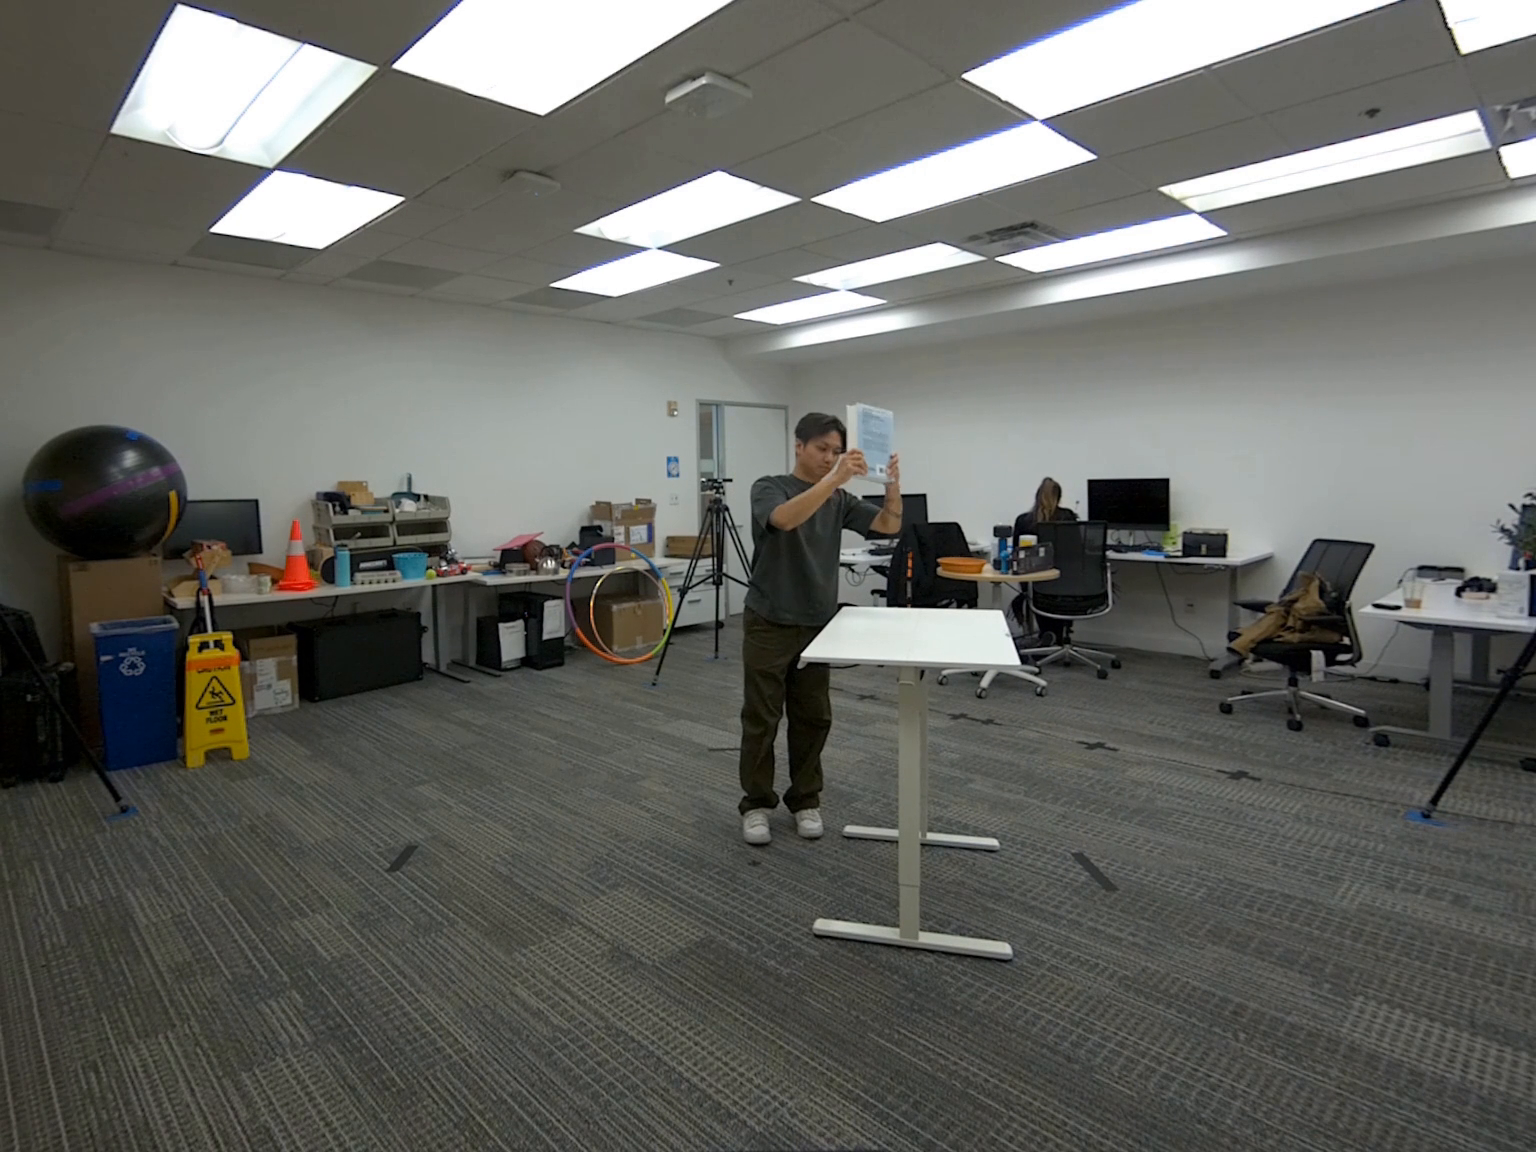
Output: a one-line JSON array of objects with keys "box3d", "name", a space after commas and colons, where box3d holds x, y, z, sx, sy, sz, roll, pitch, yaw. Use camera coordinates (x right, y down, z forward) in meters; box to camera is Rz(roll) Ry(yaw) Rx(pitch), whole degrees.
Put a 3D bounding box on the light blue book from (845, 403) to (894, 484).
[{"box3d": [0.371, -0.471, 3.085, 0.186, 0.263, 0.060, 6, -11, -34], "name": "light blue book"}]
